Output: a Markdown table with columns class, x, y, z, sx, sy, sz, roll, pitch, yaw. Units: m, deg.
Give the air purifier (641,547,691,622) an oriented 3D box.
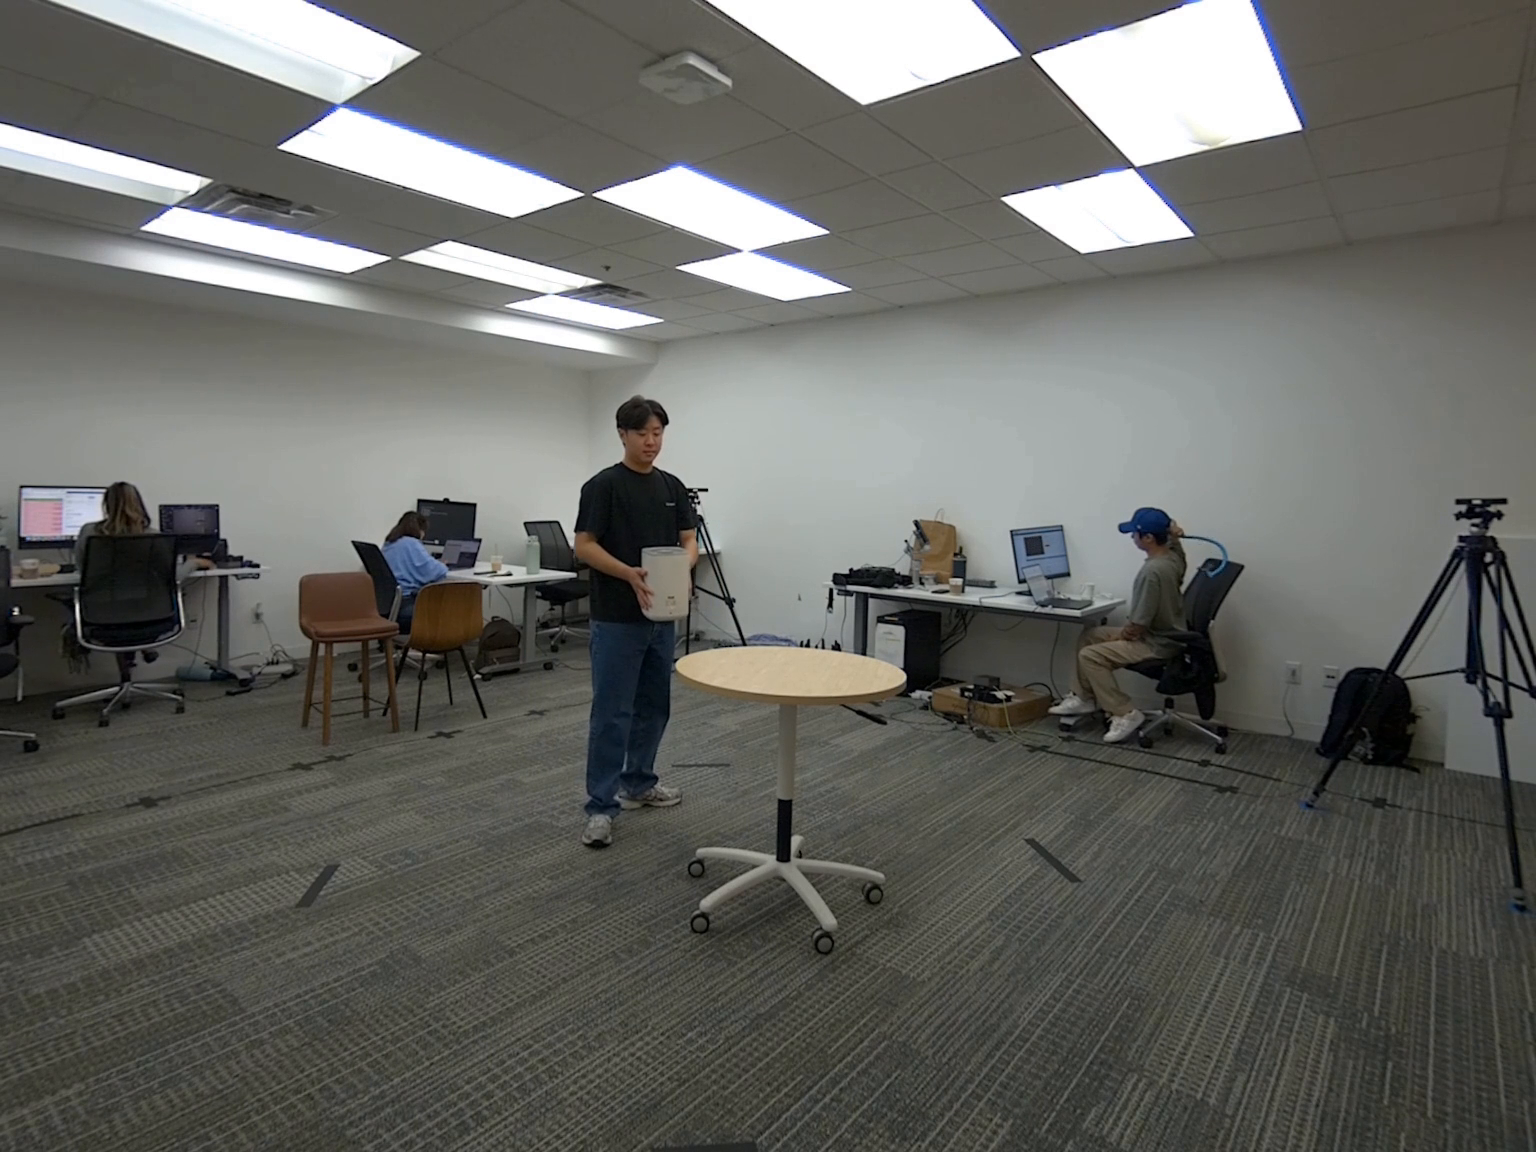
| class | x | y | z | sx | sy | sz | roll | pitch | yaw |
| --- | --- | --- | --- | --- | --- | --- | --- | --- | --- |
| air purifier | -0.418 | 0.027 | 3.329 | 0.167 | 0.263 | 0.176 | -2 | 8 | -23 |
